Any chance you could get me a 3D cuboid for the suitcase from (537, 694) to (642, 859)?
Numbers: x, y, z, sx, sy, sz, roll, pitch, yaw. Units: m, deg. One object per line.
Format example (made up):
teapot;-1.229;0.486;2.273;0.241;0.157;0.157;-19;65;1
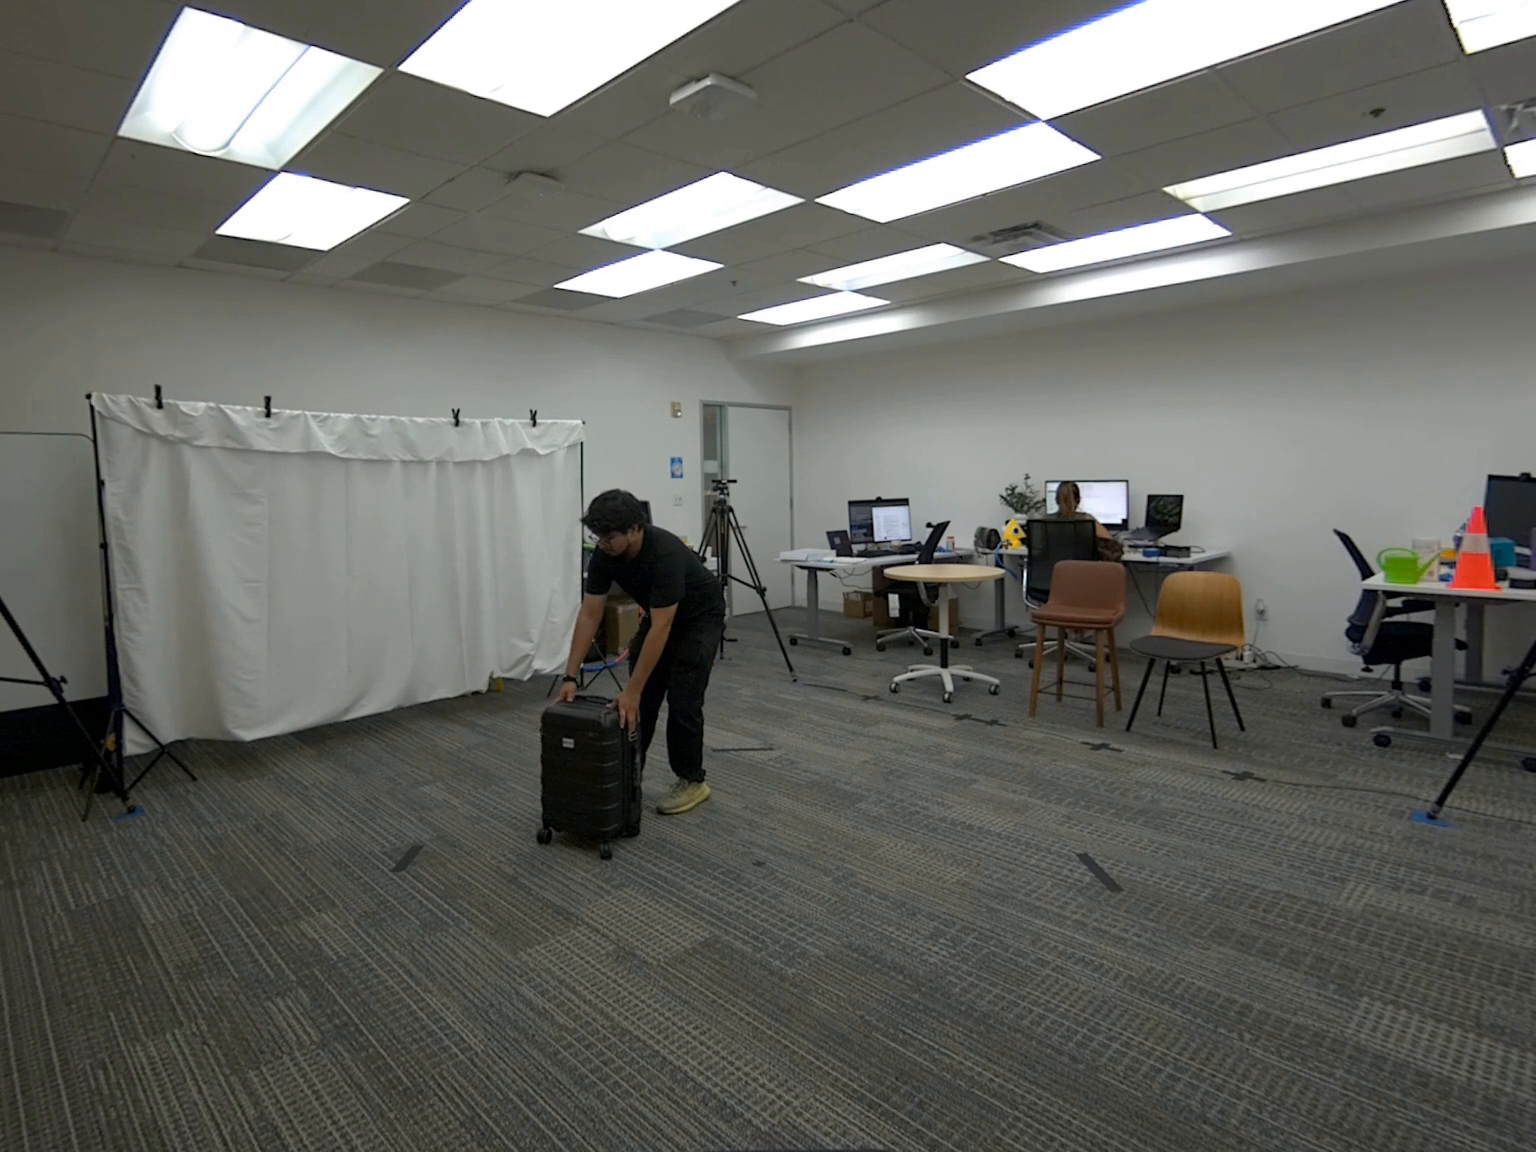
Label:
suitcase;-0.696;0.758;3.353;0.385;0.548;0.242;1;2;28
